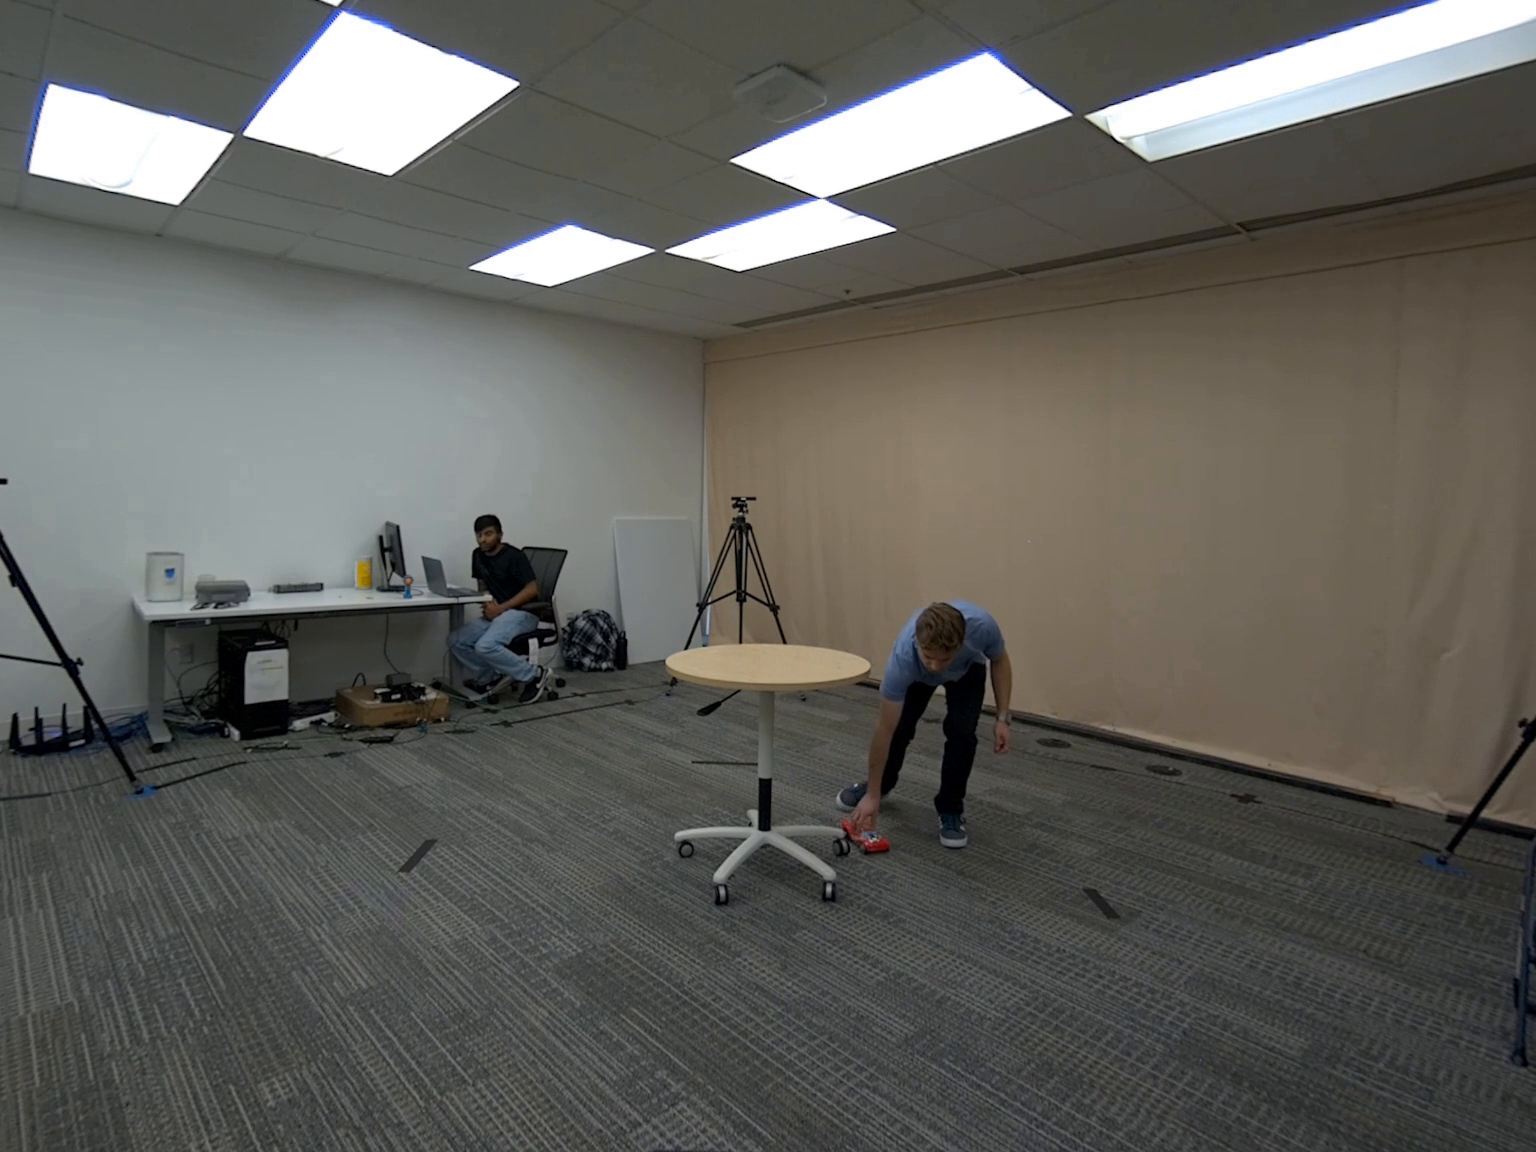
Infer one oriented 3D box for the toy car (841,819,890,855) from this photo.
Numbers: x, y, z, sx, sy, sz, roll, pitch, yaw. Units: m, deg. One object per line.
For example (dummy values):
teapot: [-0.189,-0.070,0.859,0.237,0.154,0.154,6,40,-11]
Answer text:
toy car: [0.382,1.062,3.441,0.128,0.082,0.261,0,16,-22]
